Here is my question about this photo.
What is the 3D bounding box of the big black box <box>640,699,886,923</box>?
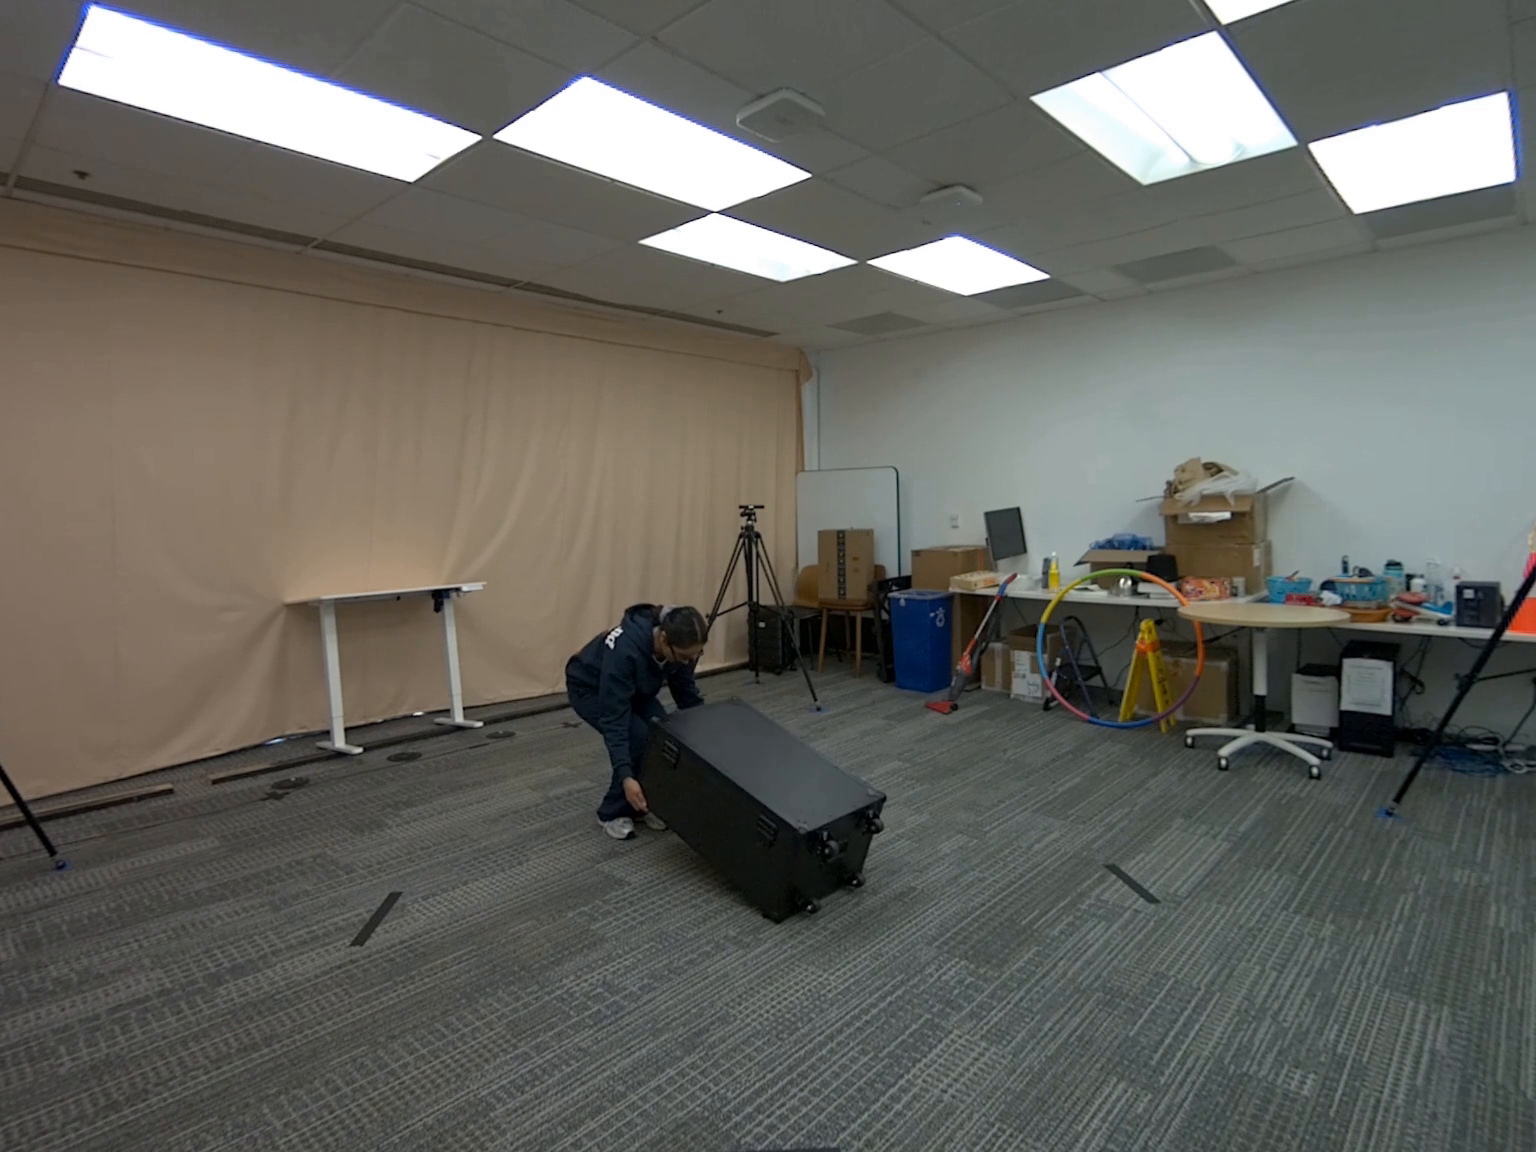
[{"bbox_3d":[-0.026,0.856,3.136,0.893,0.394,0.505,26,21,39],"label":"big black box"}]
